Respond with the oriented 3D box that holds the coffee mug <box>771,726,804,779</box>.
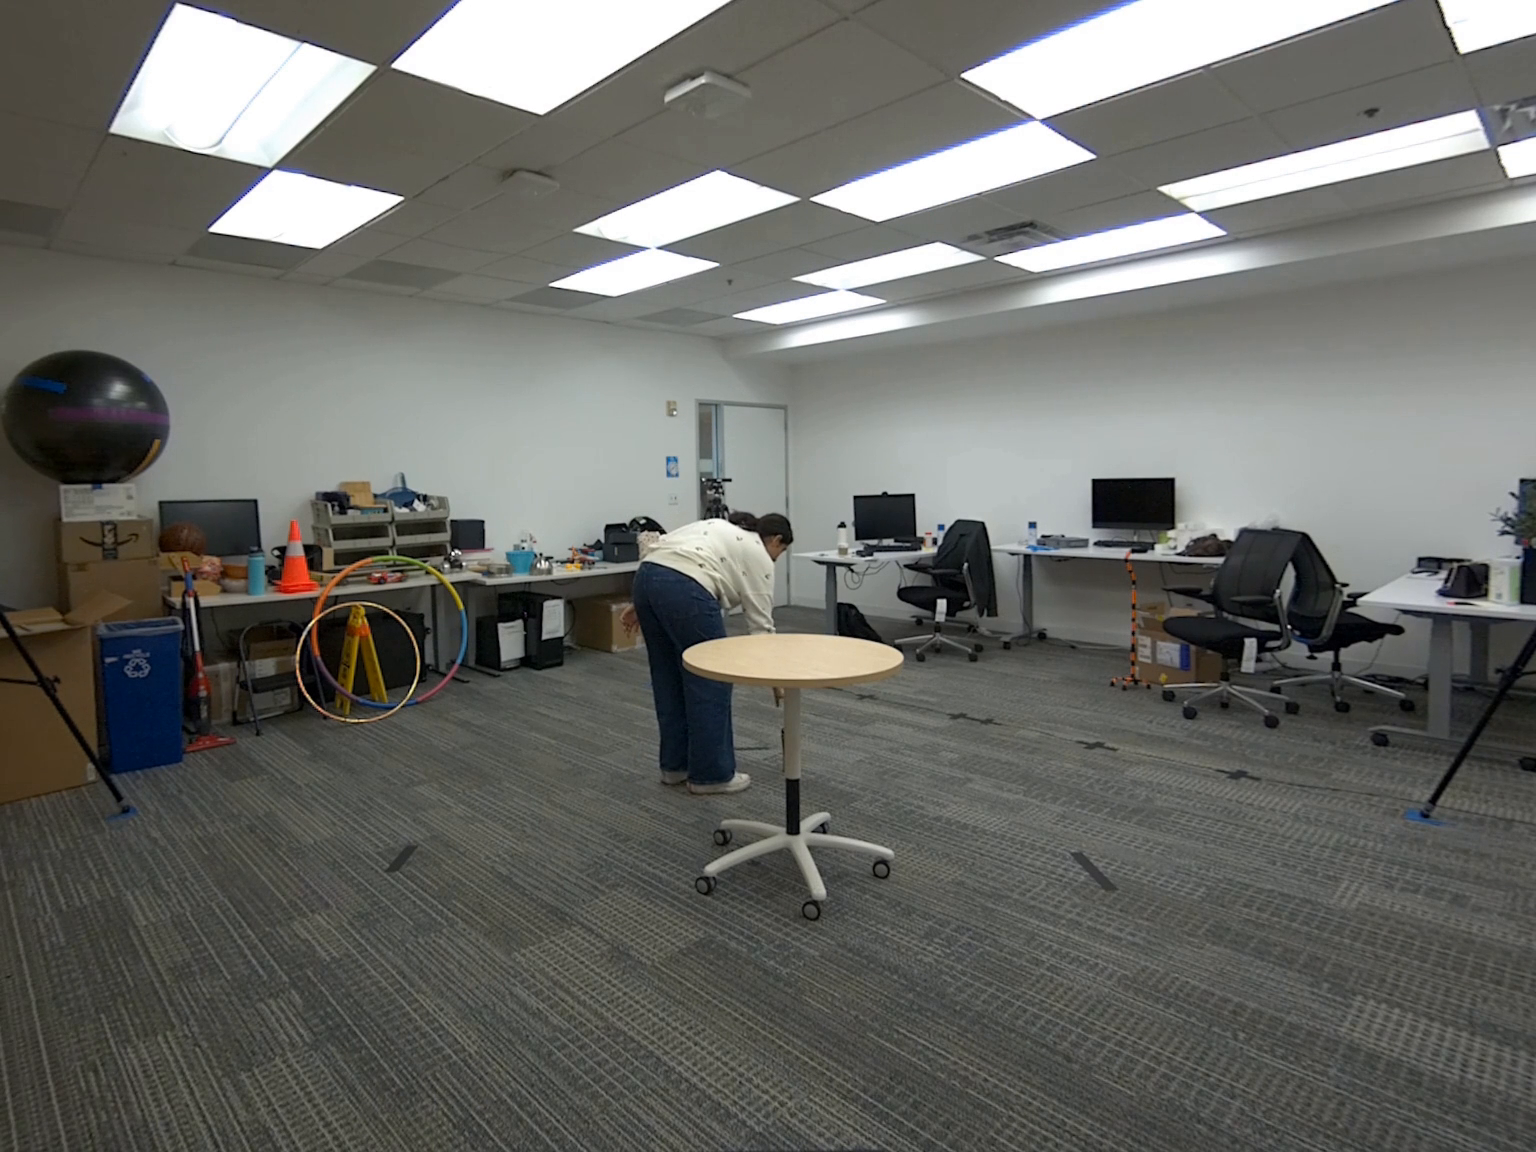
[{"bbox_3d":[0.090,0.833,4.054,0.091,0.202,0.118,6,6,42],"label":"coffee mug"}]
